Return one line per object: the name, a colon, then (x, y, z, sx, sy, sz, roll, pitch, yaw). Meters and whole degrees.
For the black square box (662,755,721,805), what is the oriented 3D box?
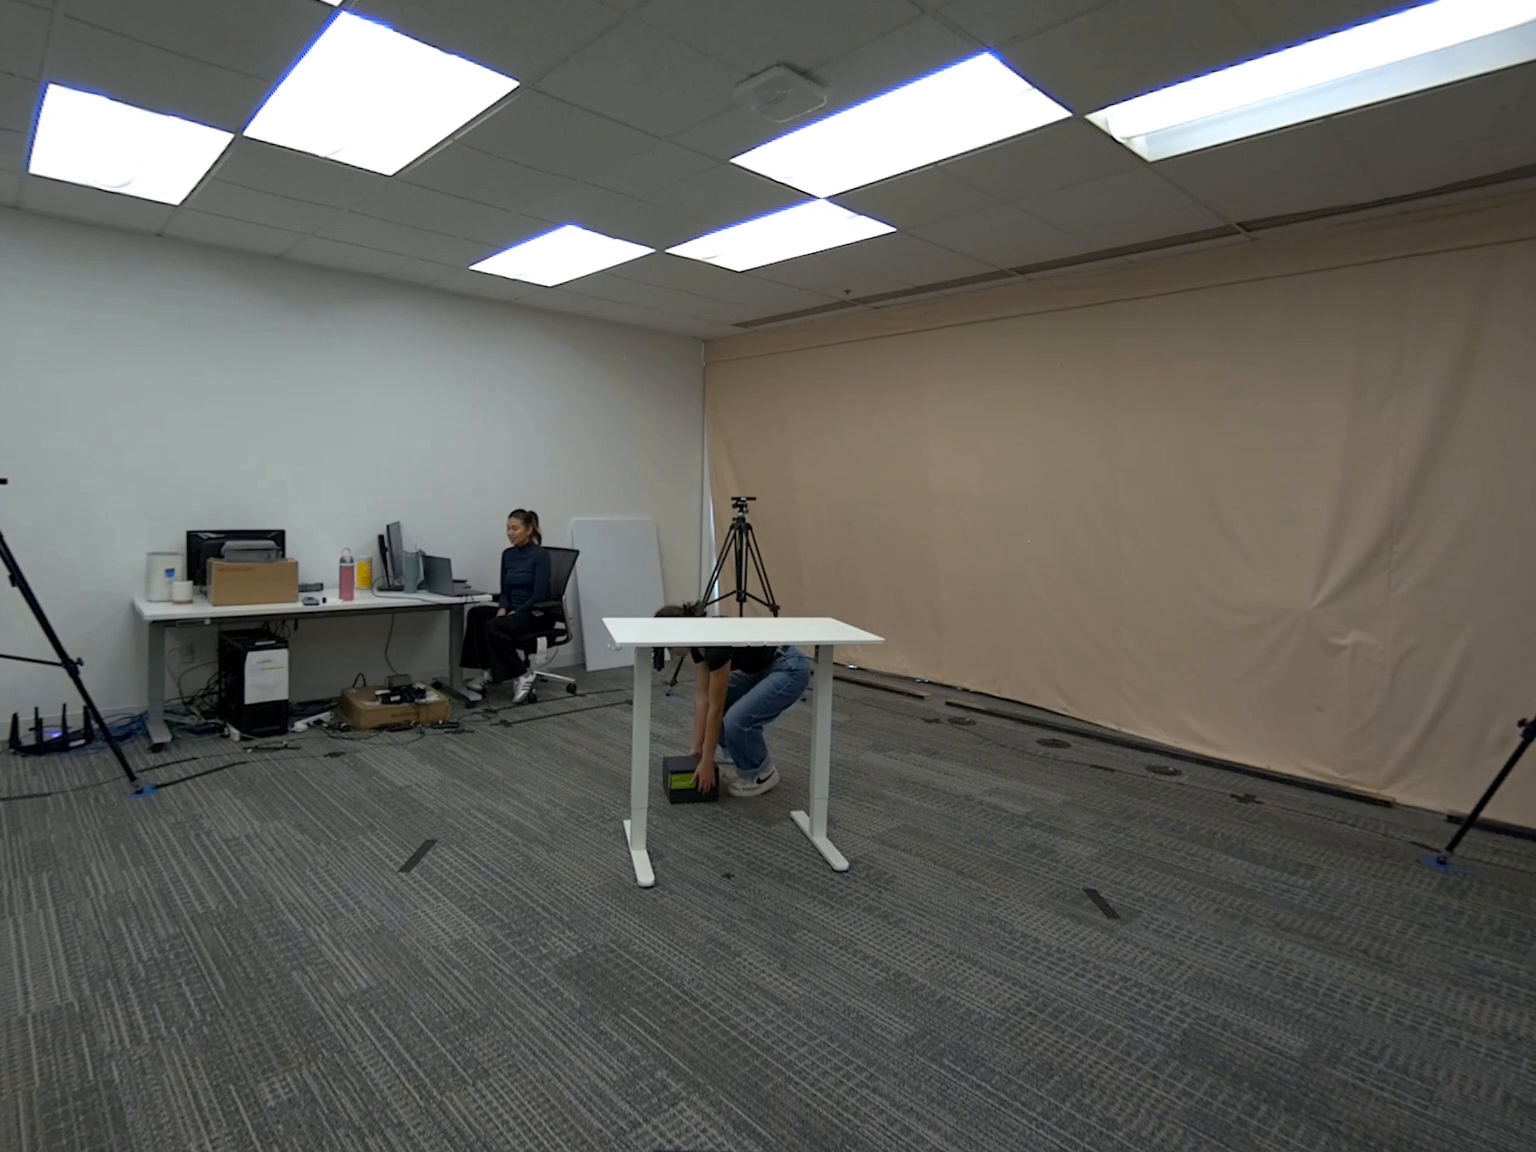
black square box: (-0.375, 0.945, 3.948, 0.225, 0.155, 0.220, 0, 4, -15)
